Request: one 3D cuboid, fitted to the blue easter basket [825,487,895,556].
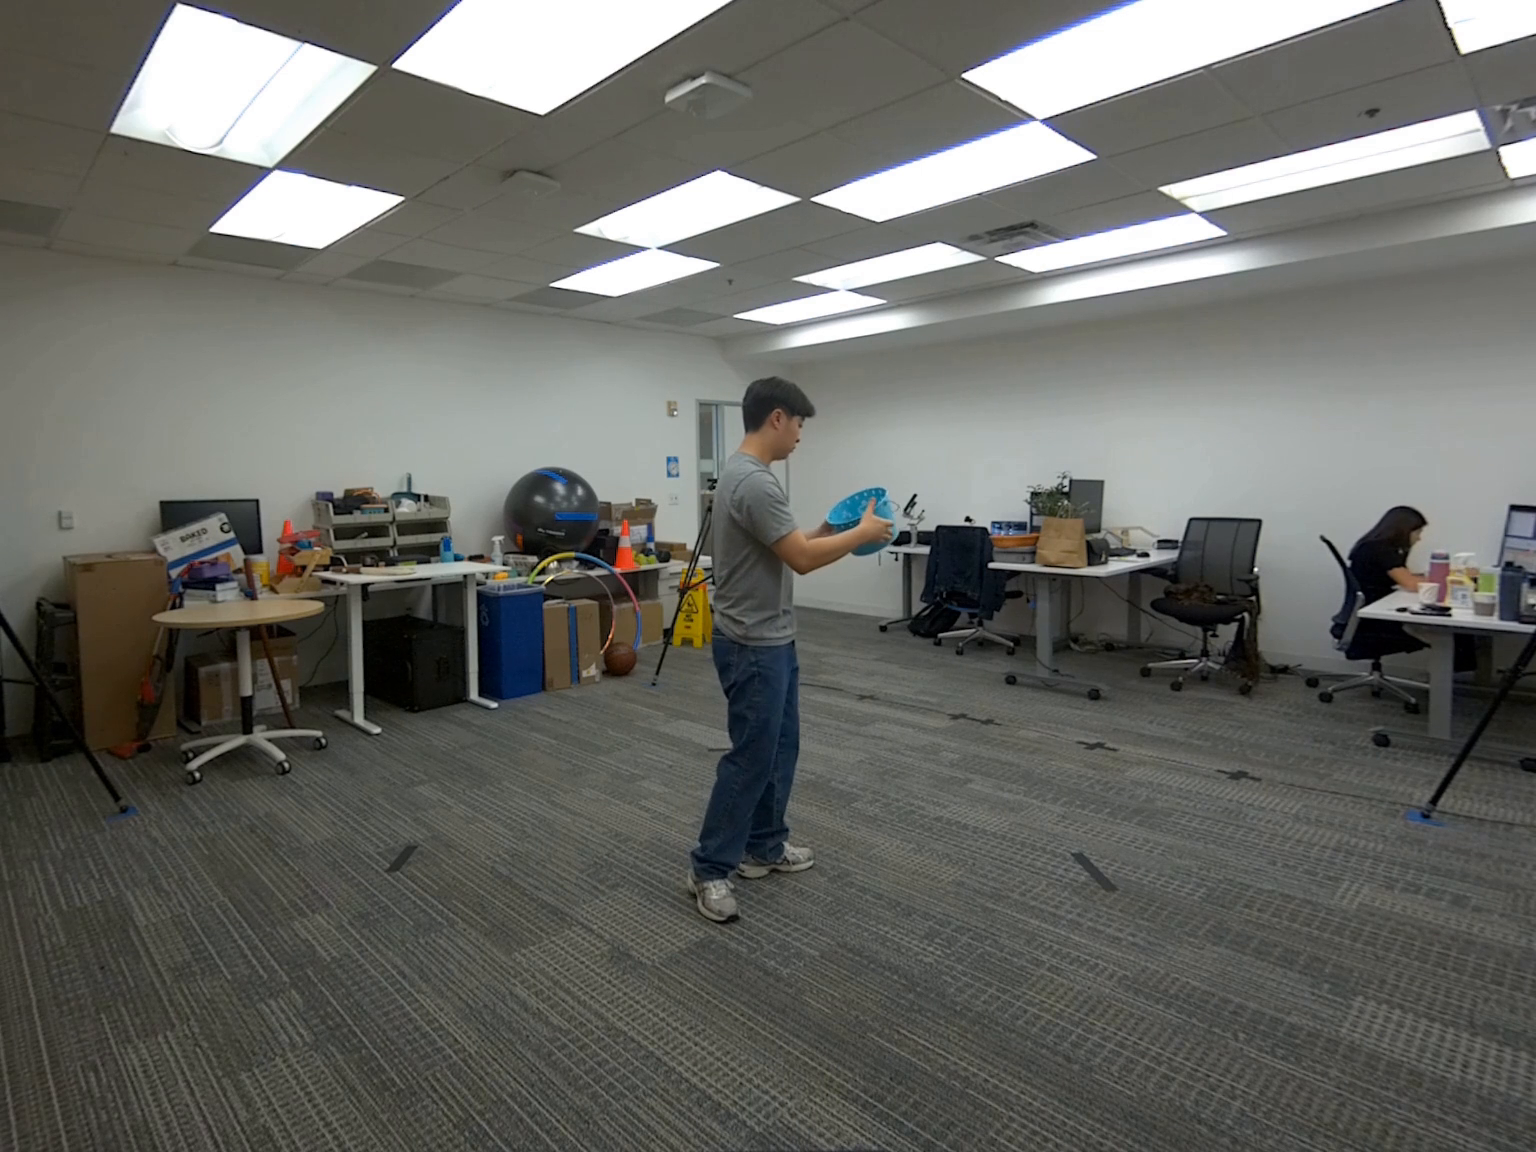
[{"bbox_3d":[0.344,-0.183,2.946,0.244,0.152,0.248,-26,21,8],"label":"blue easter basket"}]
